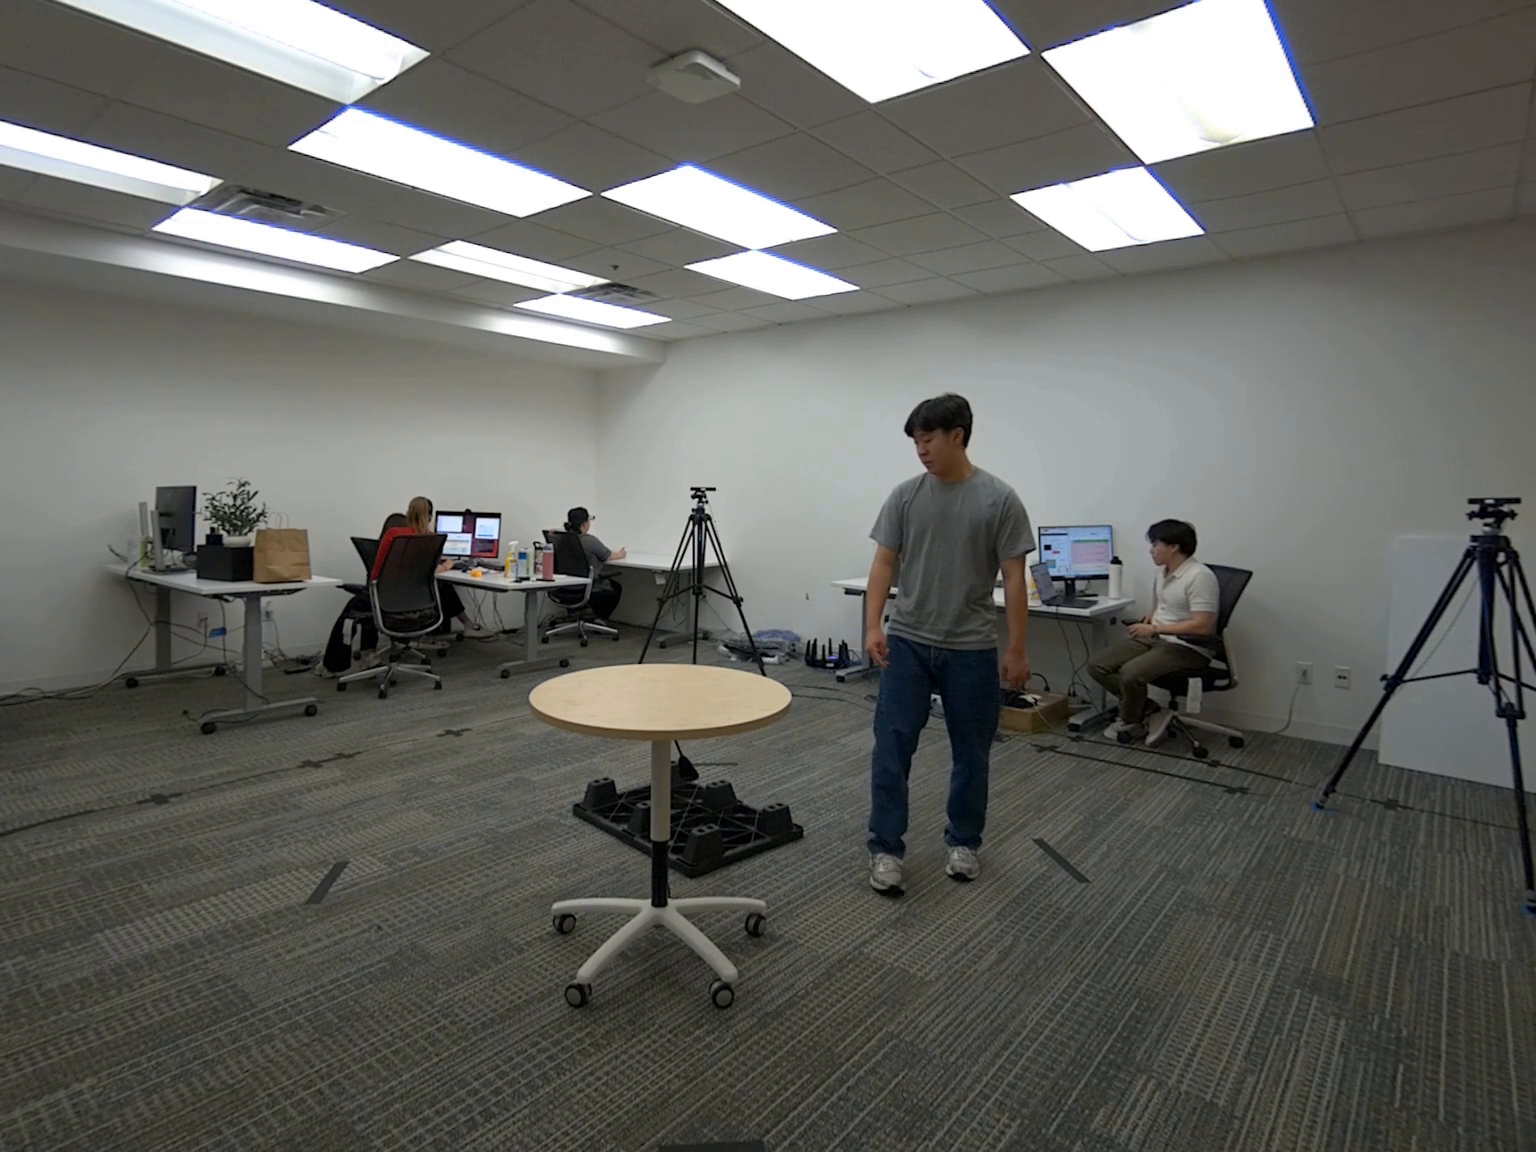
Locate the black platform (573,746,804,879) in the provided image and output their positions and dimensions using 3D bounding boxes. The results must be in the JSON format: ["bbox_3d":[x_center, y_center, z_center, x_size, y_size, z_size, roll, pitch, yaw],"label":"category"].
[{"bbox_3d":[-0.358,0.959,3.505,0.587,0.143,0.833,-4,7,-44],"label":"black platform"}]
